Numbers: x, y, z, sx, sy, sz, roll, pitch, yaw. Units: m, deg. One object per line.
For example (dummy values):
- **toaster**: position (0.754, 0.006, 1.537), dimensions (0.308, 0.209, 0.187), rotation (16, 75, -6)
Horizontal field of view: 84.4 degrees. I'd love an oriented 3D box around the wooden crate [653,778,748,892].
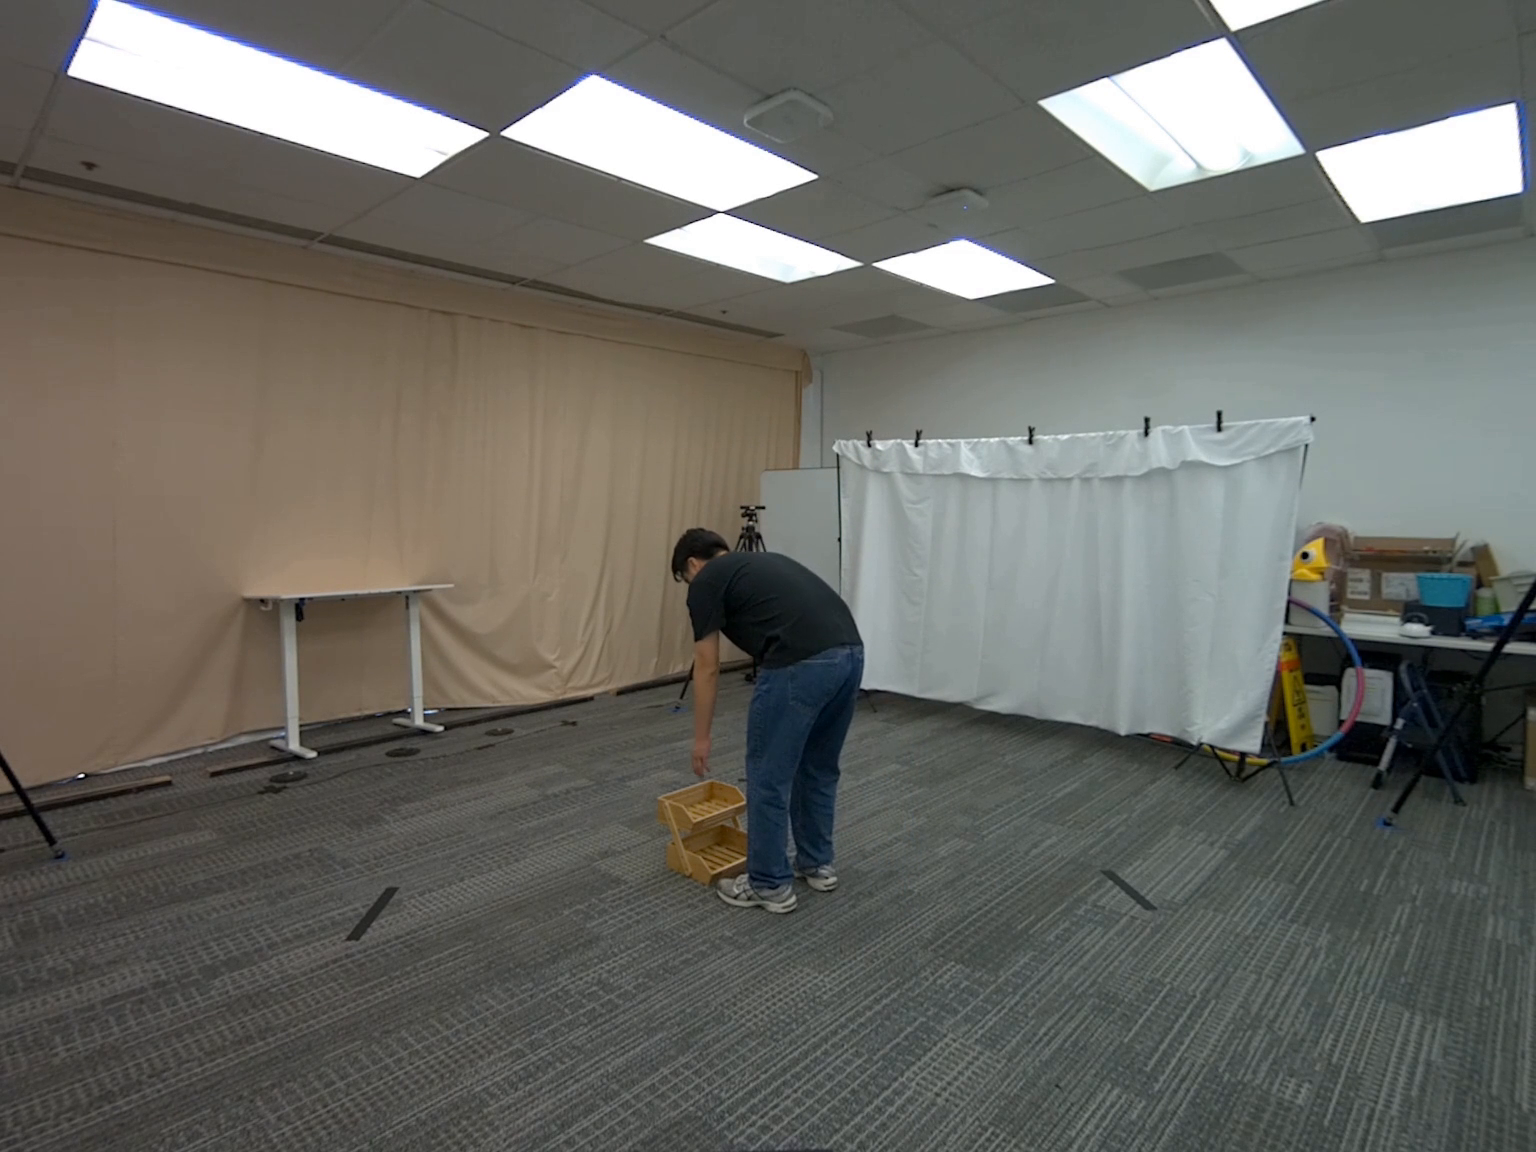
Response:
- **wooden crate**: position (-0.219, 0.986, 3.280), dimensions (0.312, 0.273, 0.314), rotation (3, 5, 44)
